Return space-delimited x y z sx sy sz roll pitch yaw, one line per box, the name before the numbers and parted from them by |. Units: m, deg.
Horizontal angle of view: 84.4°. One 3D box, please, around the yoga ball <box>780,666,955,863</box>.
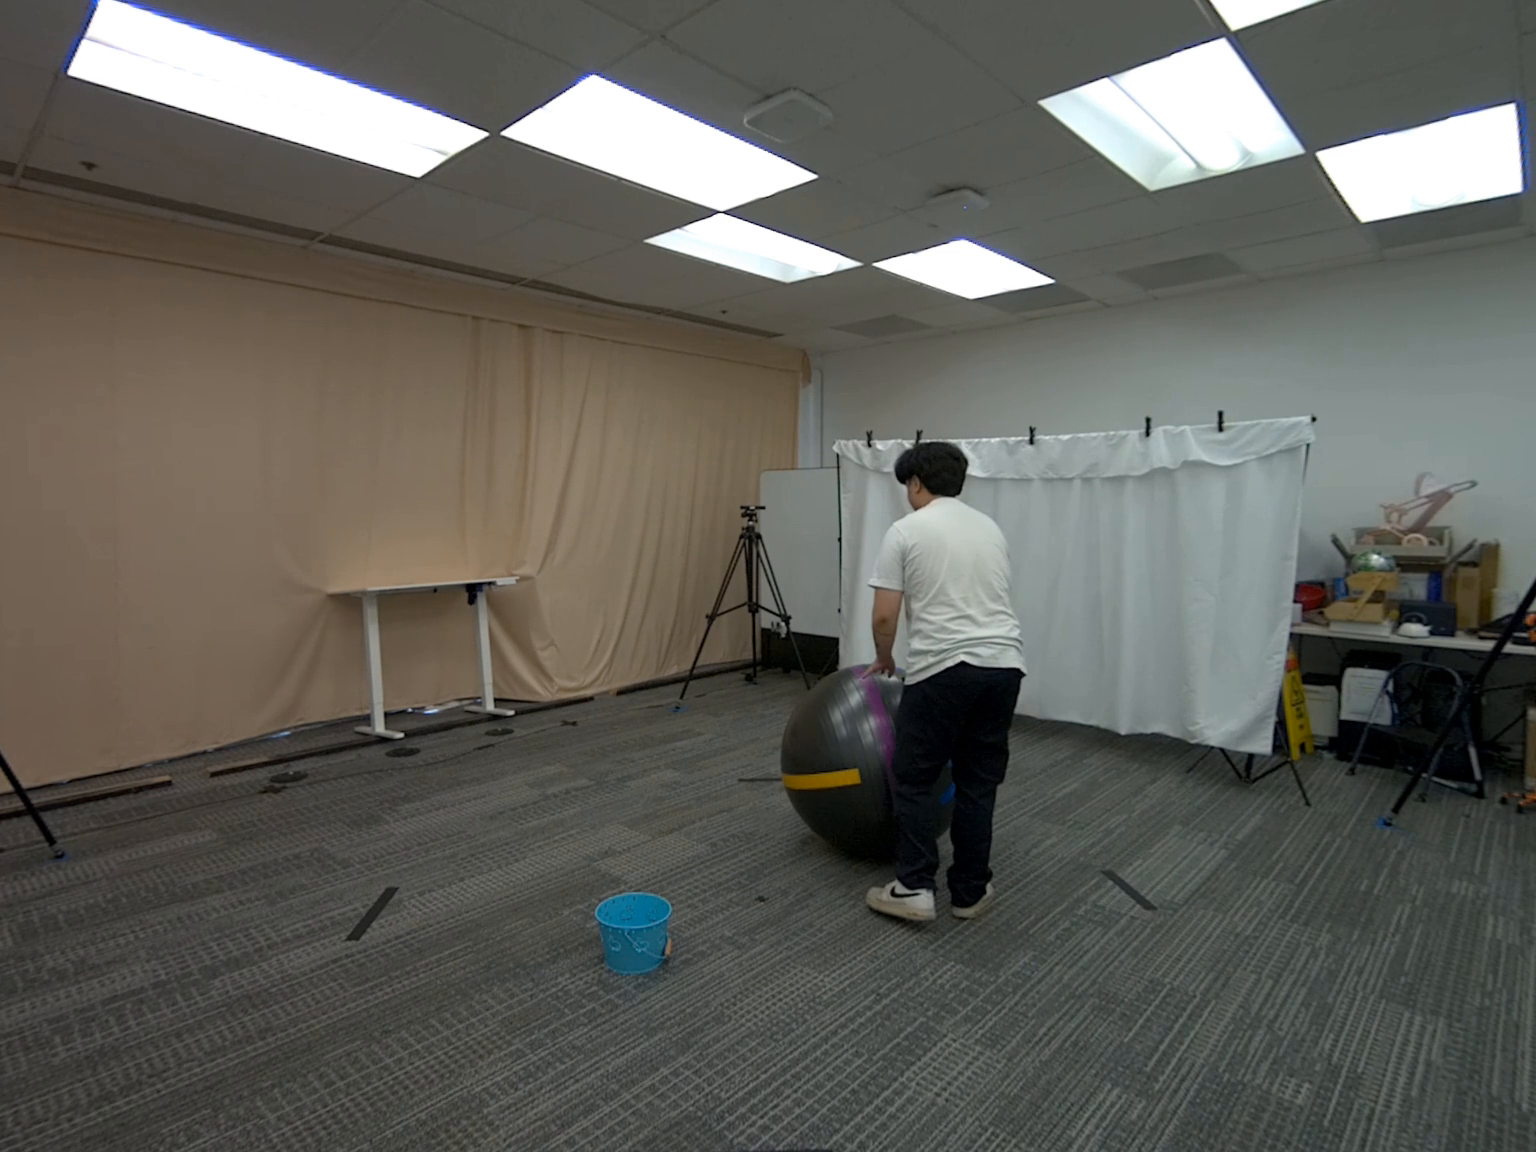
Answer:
yoga ball | 0.431 0.739 3.401 0.757 0.756 0.760 0 4 -2
